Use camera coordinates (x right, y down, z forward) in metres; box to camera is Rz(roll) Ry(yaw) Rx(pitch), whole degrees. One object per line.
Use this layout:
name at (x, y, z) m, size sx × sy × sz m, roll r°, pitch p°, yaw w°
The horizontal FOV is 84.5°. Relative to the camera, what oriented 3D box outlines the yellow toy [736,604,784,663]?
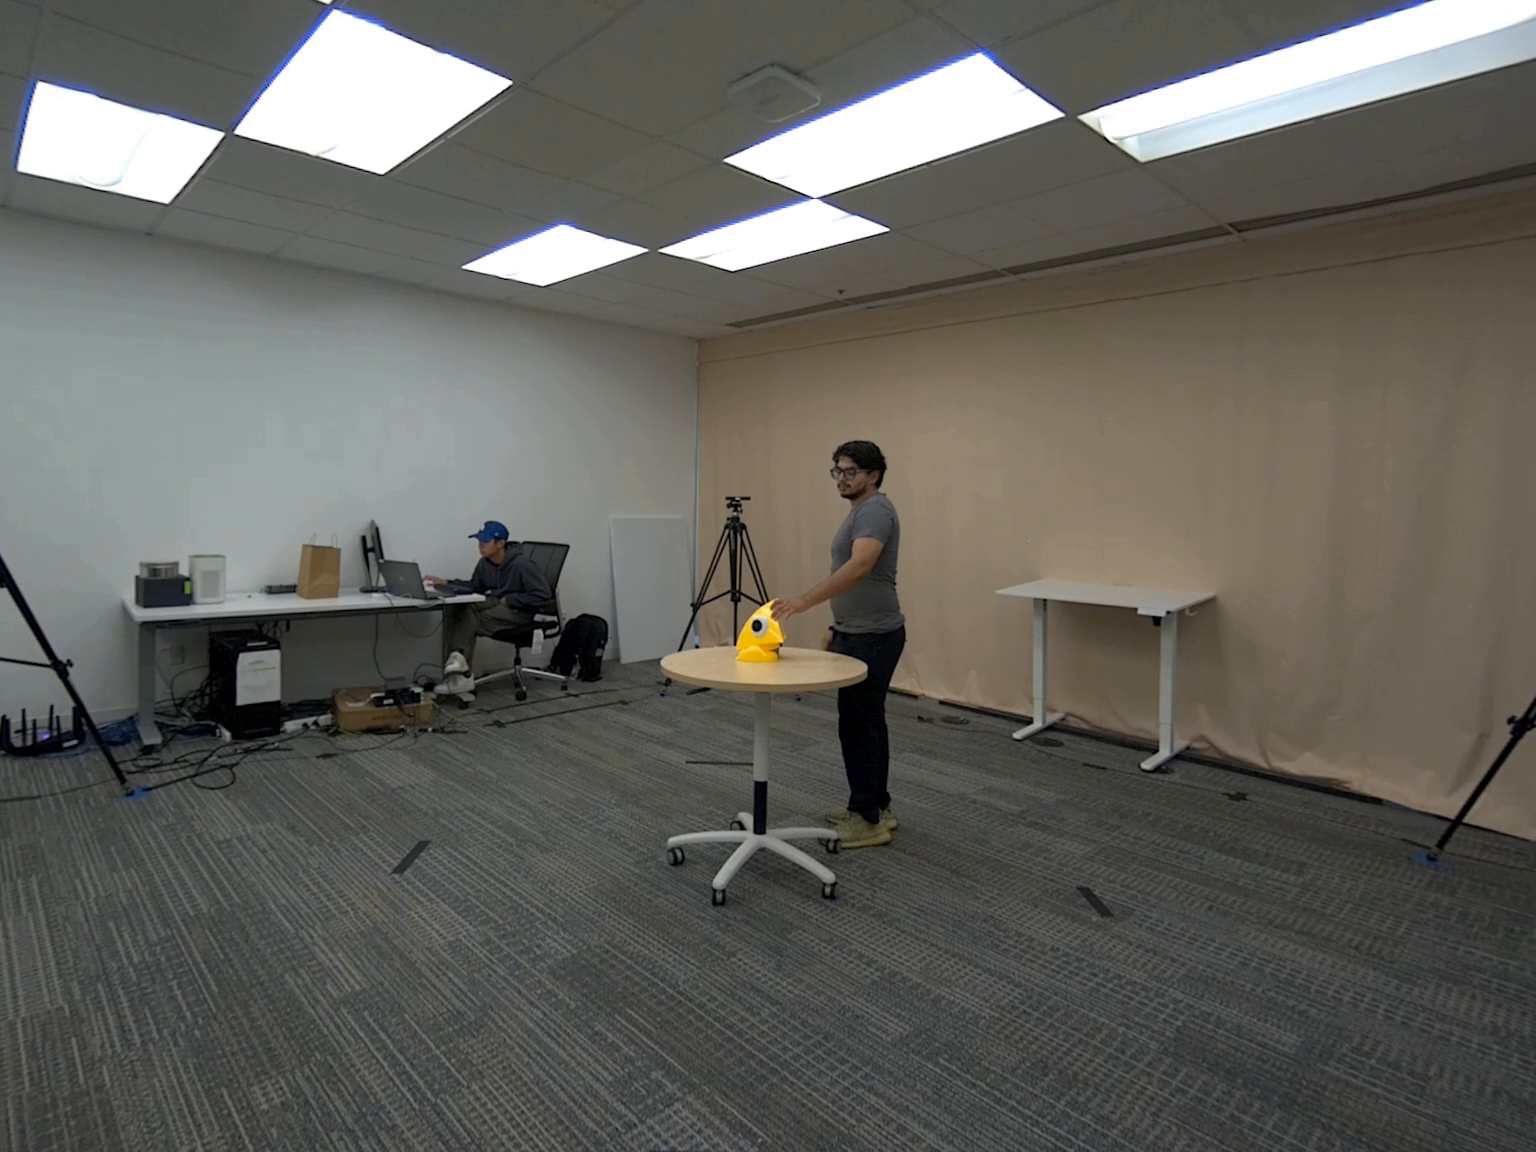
yellow toy at (-0.035, 0.200, 3.234) m, size 0.194 × 0.230 × 0.204 m, roll 3°, pitch 3°, yaw 4°
